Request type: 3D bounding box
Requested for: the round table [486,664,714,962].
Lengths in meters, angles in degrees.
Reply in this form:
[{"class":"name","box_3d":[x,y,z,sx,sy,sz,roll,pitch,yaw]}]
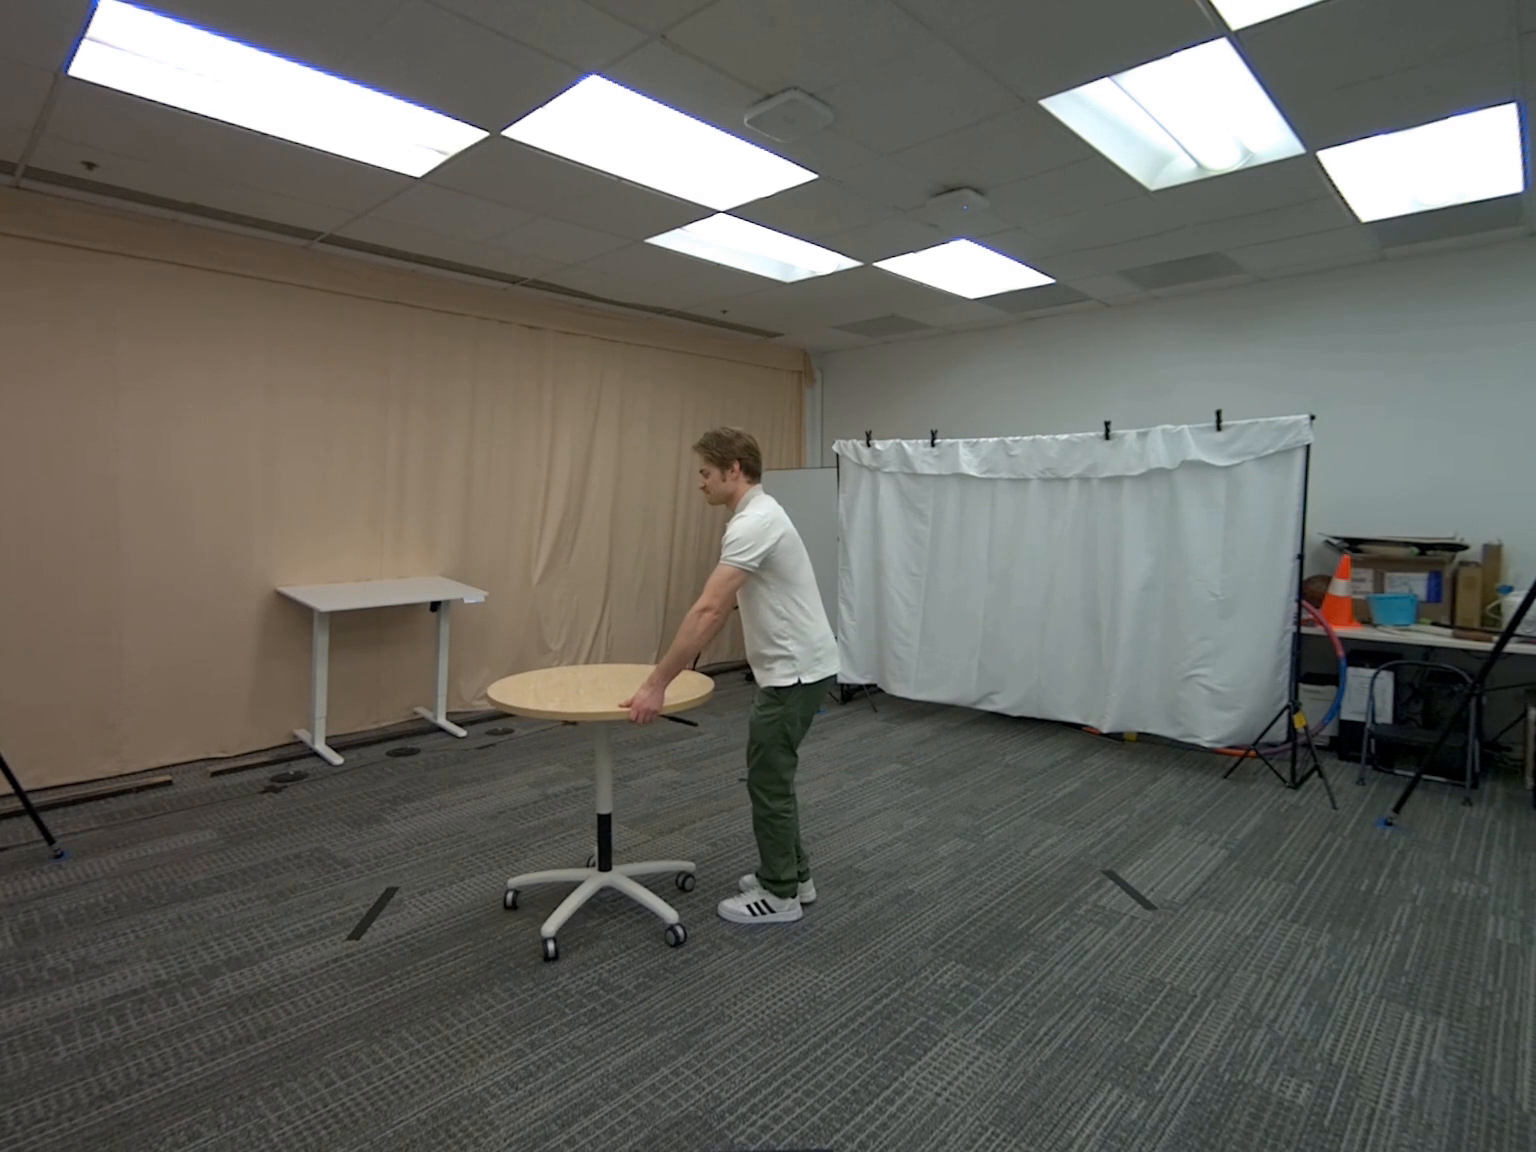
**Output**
[{"class":"round table","box_3d":[-0.560,0.769,2.897,0.763,0.792,0.766,-1,4,-2]}]
